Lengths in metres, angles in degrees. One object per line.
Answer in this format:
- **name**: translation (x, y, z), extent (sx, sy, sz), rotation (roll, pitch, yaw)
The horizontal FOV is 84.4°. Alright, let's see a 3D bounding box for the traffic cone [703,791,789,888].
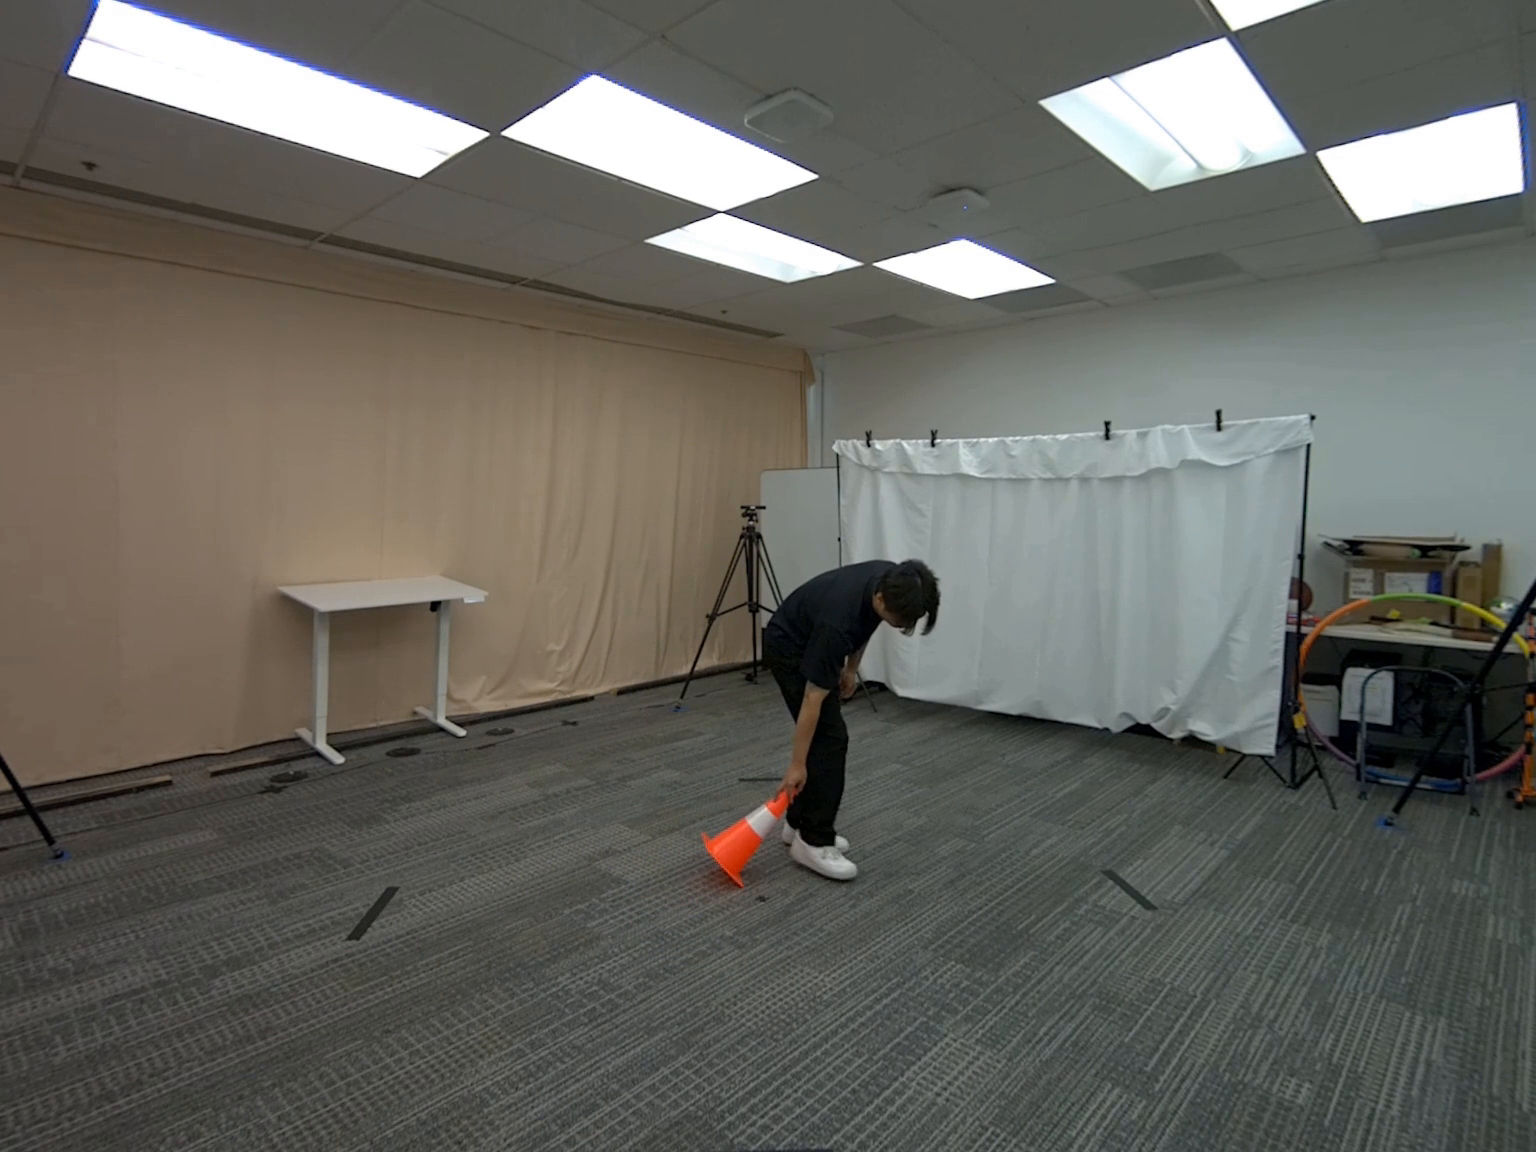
- **traffic cone**: translation (-0.038, 0.933, 3.157), extent (0.383, 0.203, 0.206), rotation (-43, 10, -3)
